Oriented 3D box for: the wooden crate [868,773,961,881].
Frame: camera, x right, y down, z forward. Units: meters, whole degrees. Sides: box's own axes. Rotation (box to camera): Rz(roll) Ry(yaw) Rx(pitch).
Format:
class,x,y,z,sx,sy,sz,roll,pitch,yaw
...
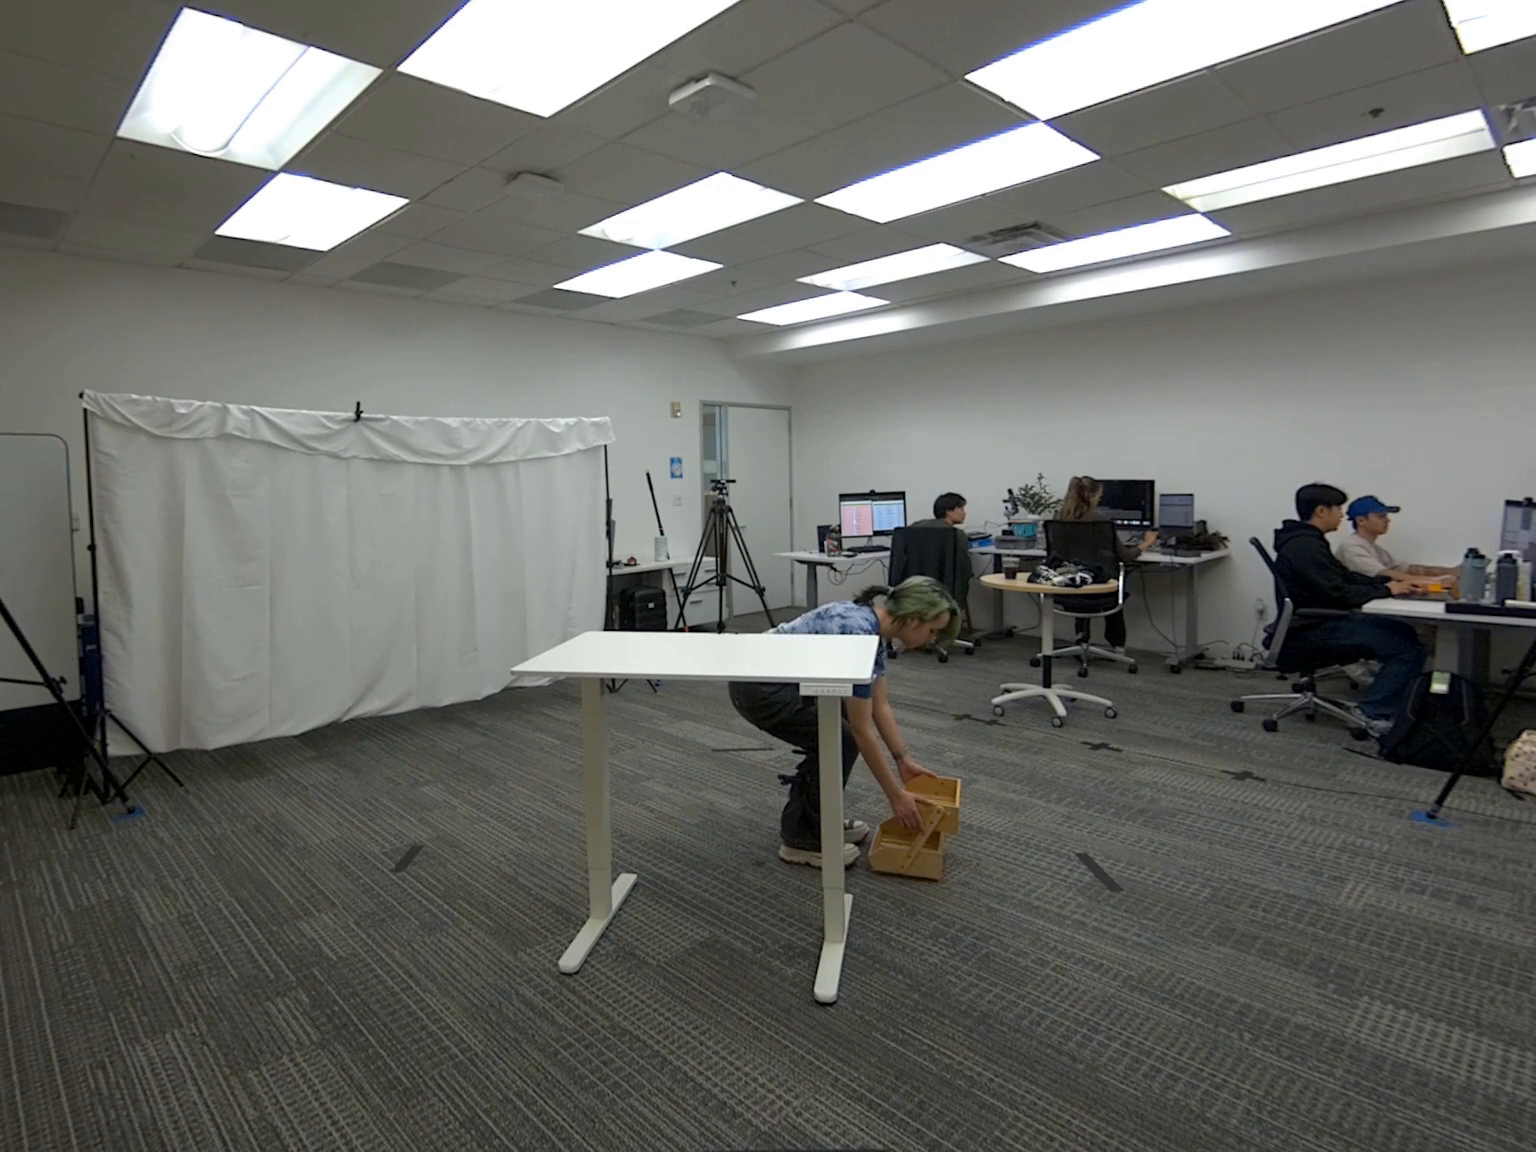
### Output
class,x,y,z,sx,sy,sz,roll,pitch,yaw
wooden crate,0.535,0.884,3.091,0.307,0.272,0.320,2,5,15
